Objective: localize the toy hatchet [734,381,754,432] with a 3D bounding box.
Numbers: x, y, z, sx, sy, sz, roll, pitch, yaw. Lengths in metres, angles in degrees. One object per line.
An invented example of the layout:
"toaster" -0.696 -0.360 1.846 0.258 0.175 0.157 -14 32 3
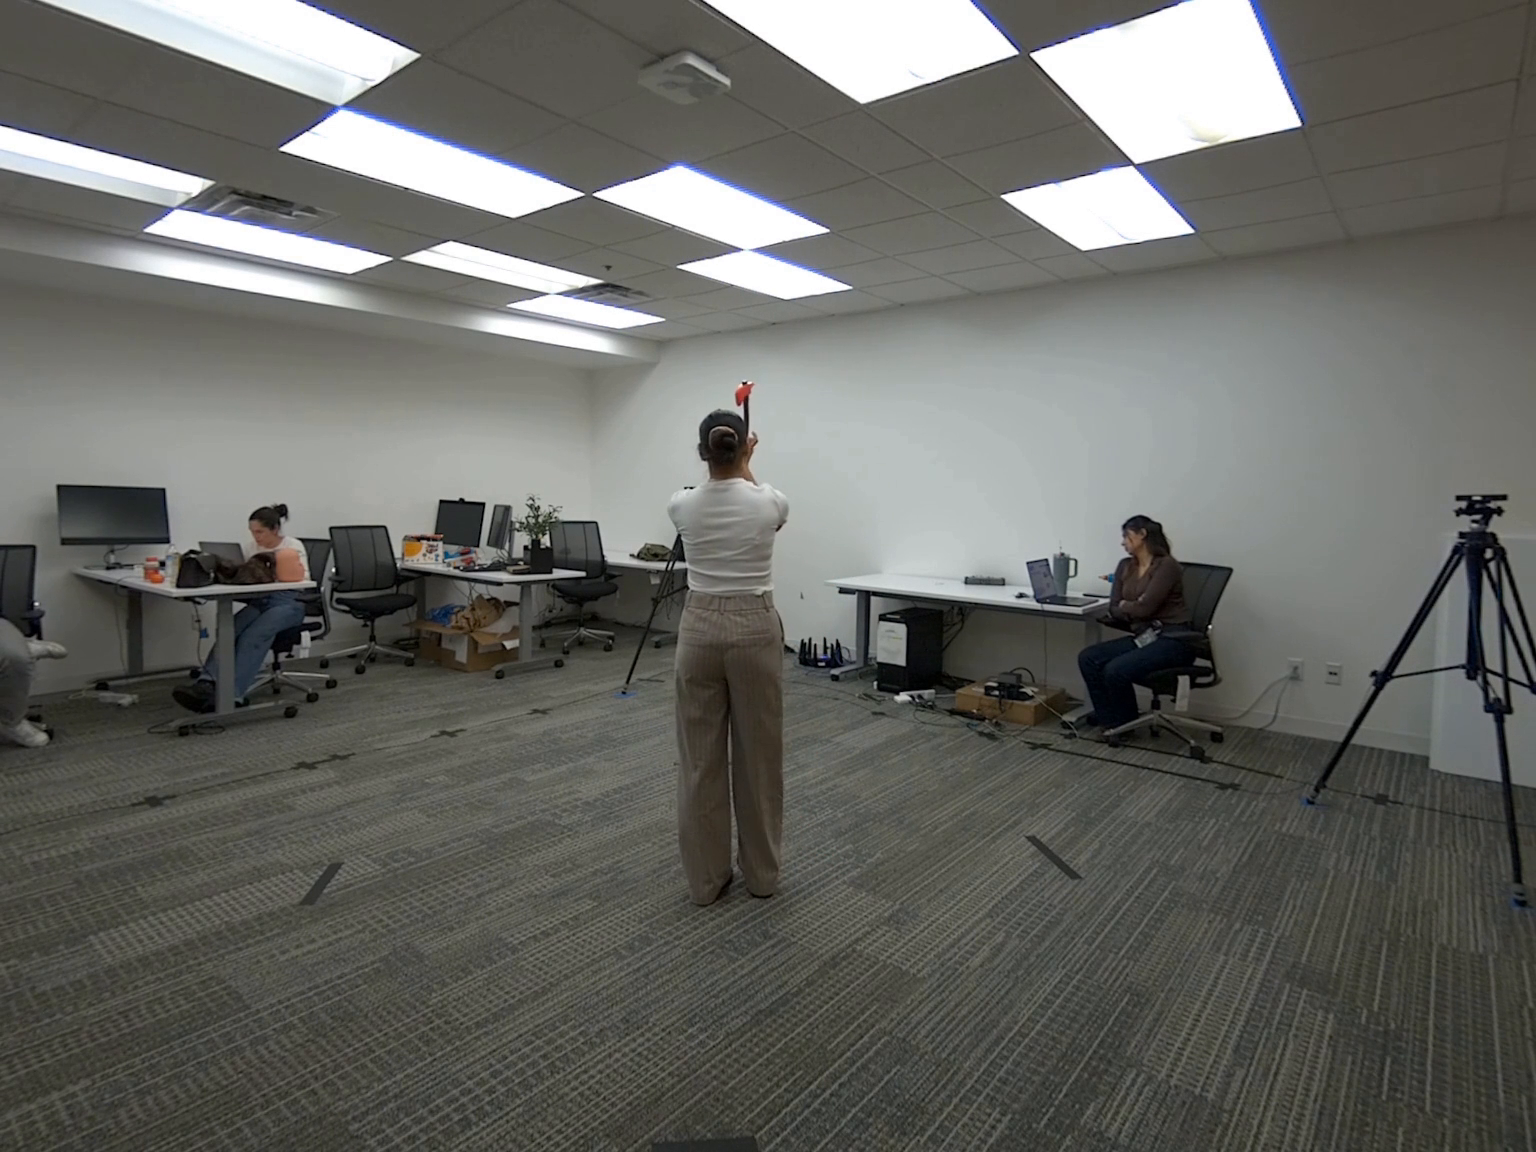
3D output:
"toy hatchet" -0.105 -0.601 3.185 0.030 0.267 0.128 14 14 25
